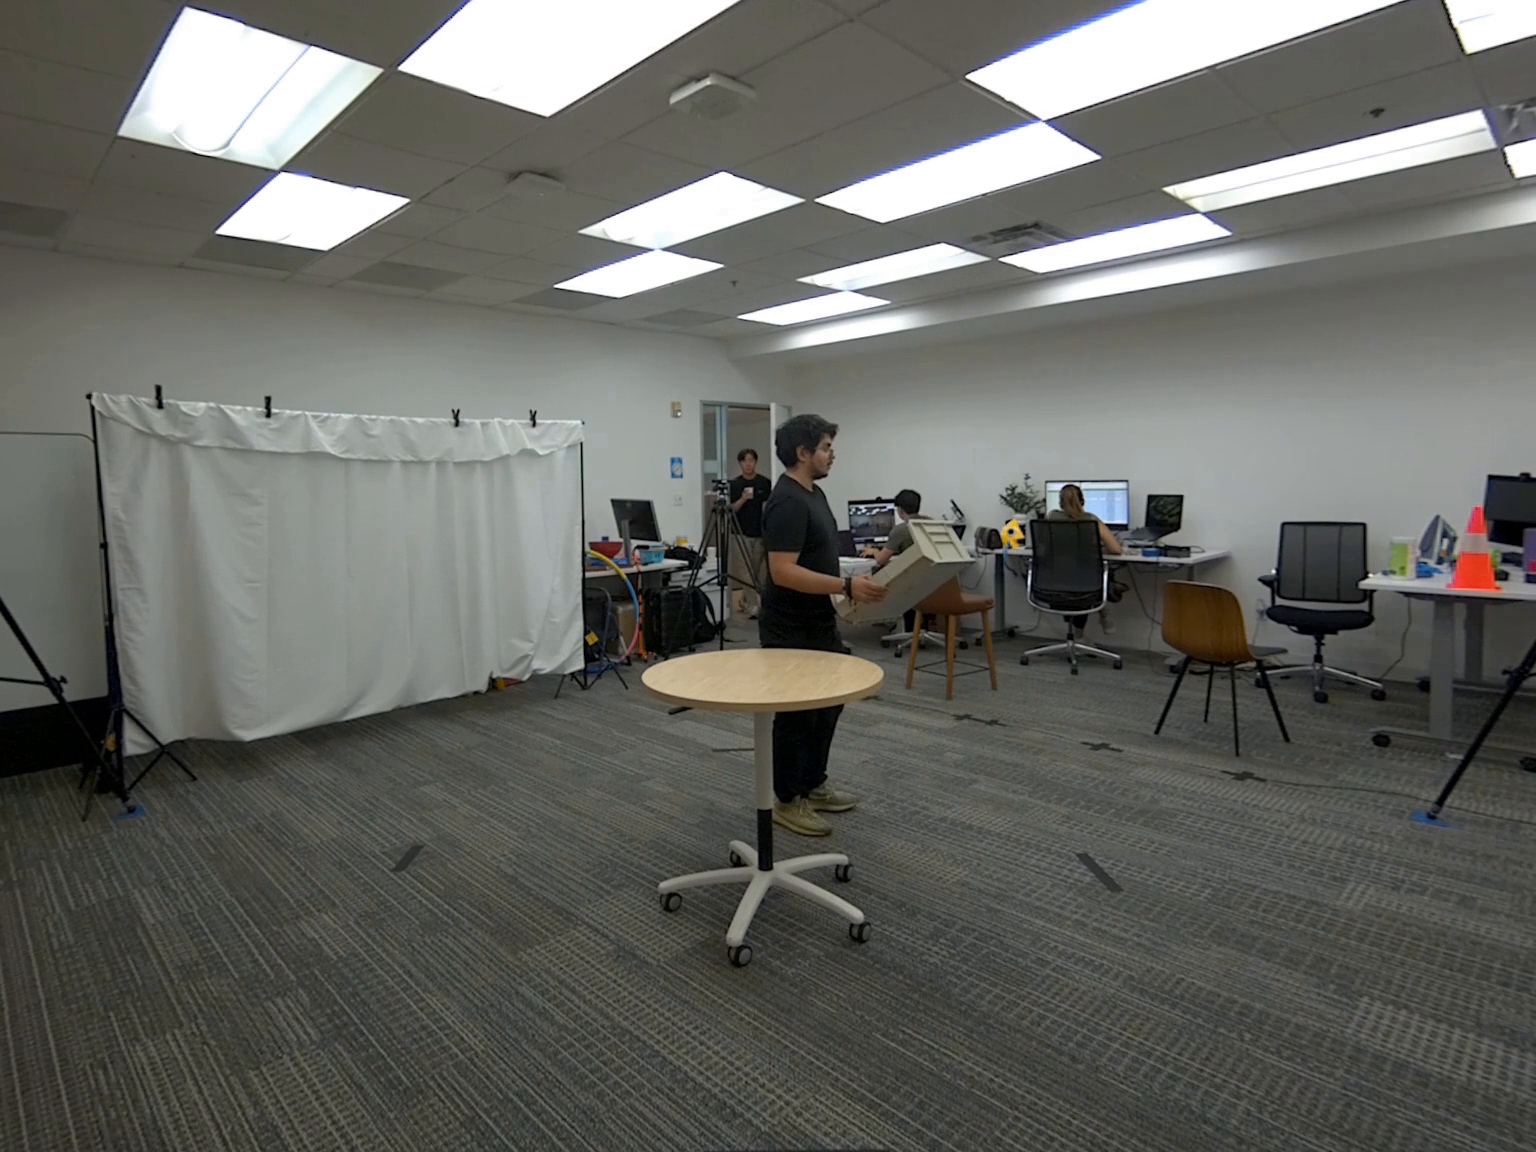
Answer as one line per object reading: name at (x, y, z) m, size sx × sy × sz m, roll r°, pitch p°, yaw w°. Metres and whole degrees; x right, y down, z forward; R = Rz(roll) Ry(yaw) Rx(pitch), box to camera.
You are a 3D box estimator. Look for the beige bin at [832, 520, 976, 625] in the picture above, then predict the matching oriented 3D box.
beige bin at (0.489, -0.004, 3.141) m, size 0.366 × 0.194 × 0.423 m, roll 1°, pitch -36°, yaw -50°
